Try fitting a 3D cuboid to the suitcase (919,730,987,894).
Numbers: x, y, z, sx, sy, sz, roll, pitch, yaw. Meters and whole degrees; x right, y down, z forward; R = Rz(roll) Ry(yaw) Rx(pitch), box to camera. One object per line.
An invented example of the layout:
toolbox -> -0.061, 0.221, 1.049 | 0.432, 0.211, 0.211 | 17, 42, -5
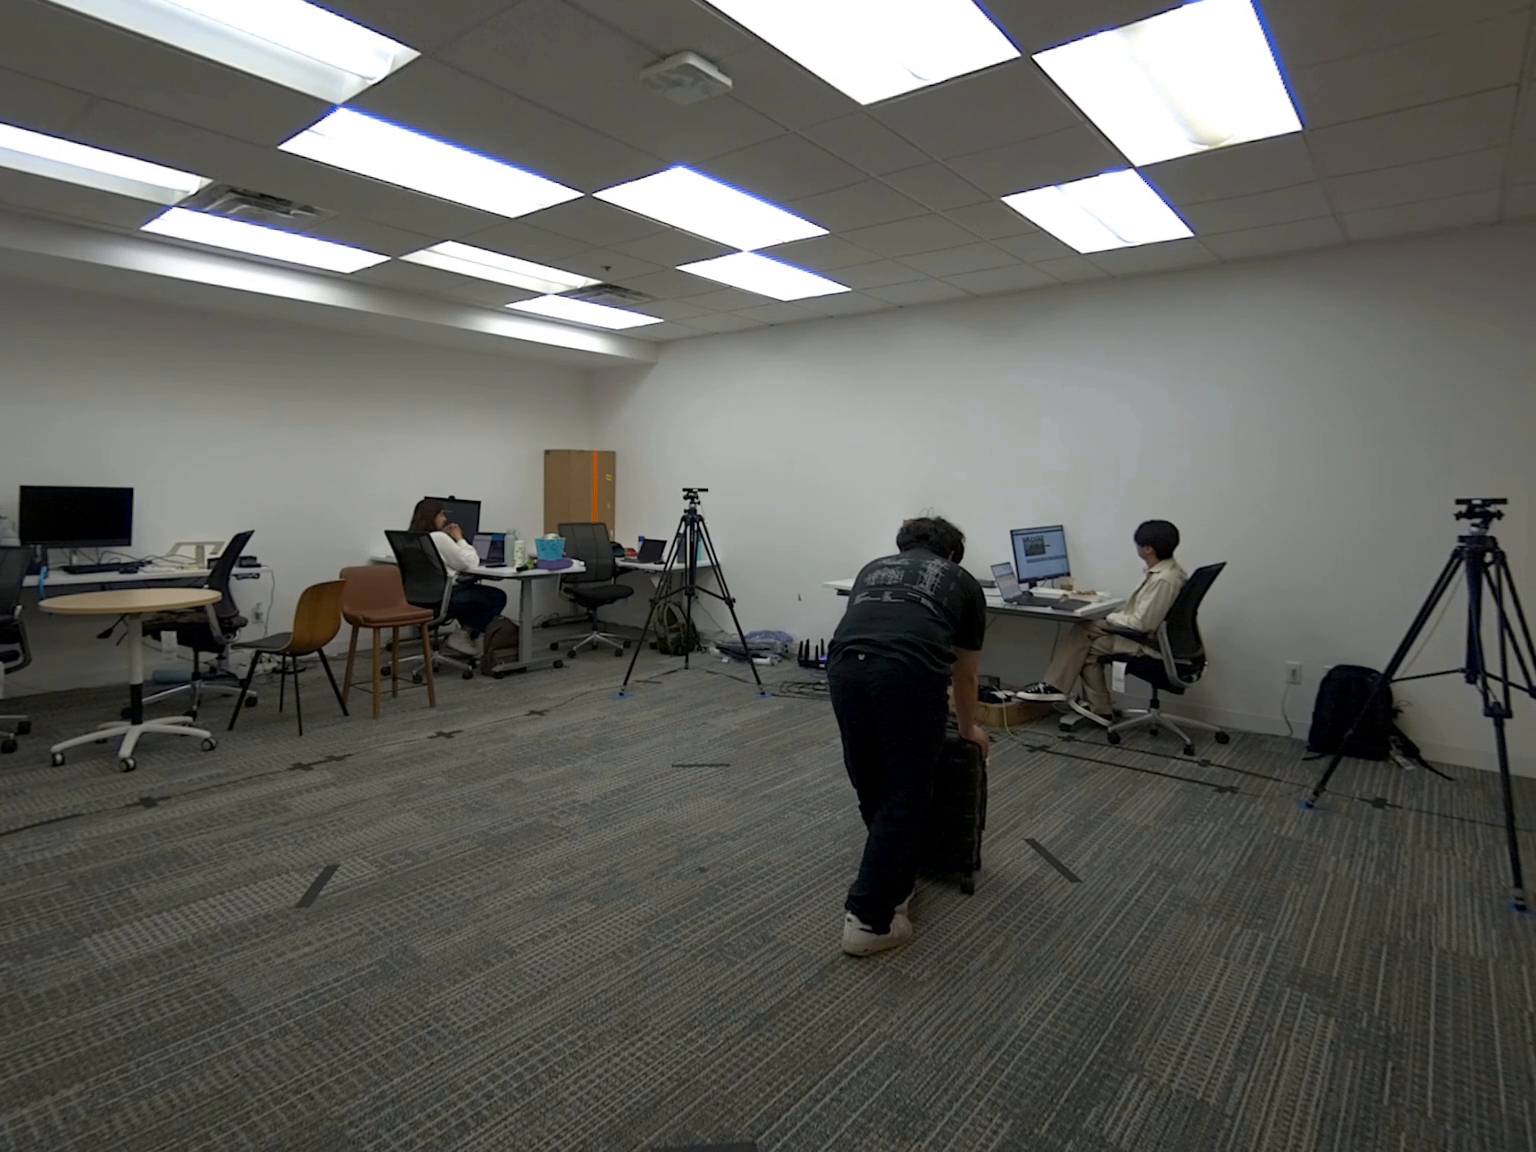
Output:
suitcase -> 0.602, 0.809, 3.144 | 0.383, 0.548, 0.244 | 2, 3, 19
